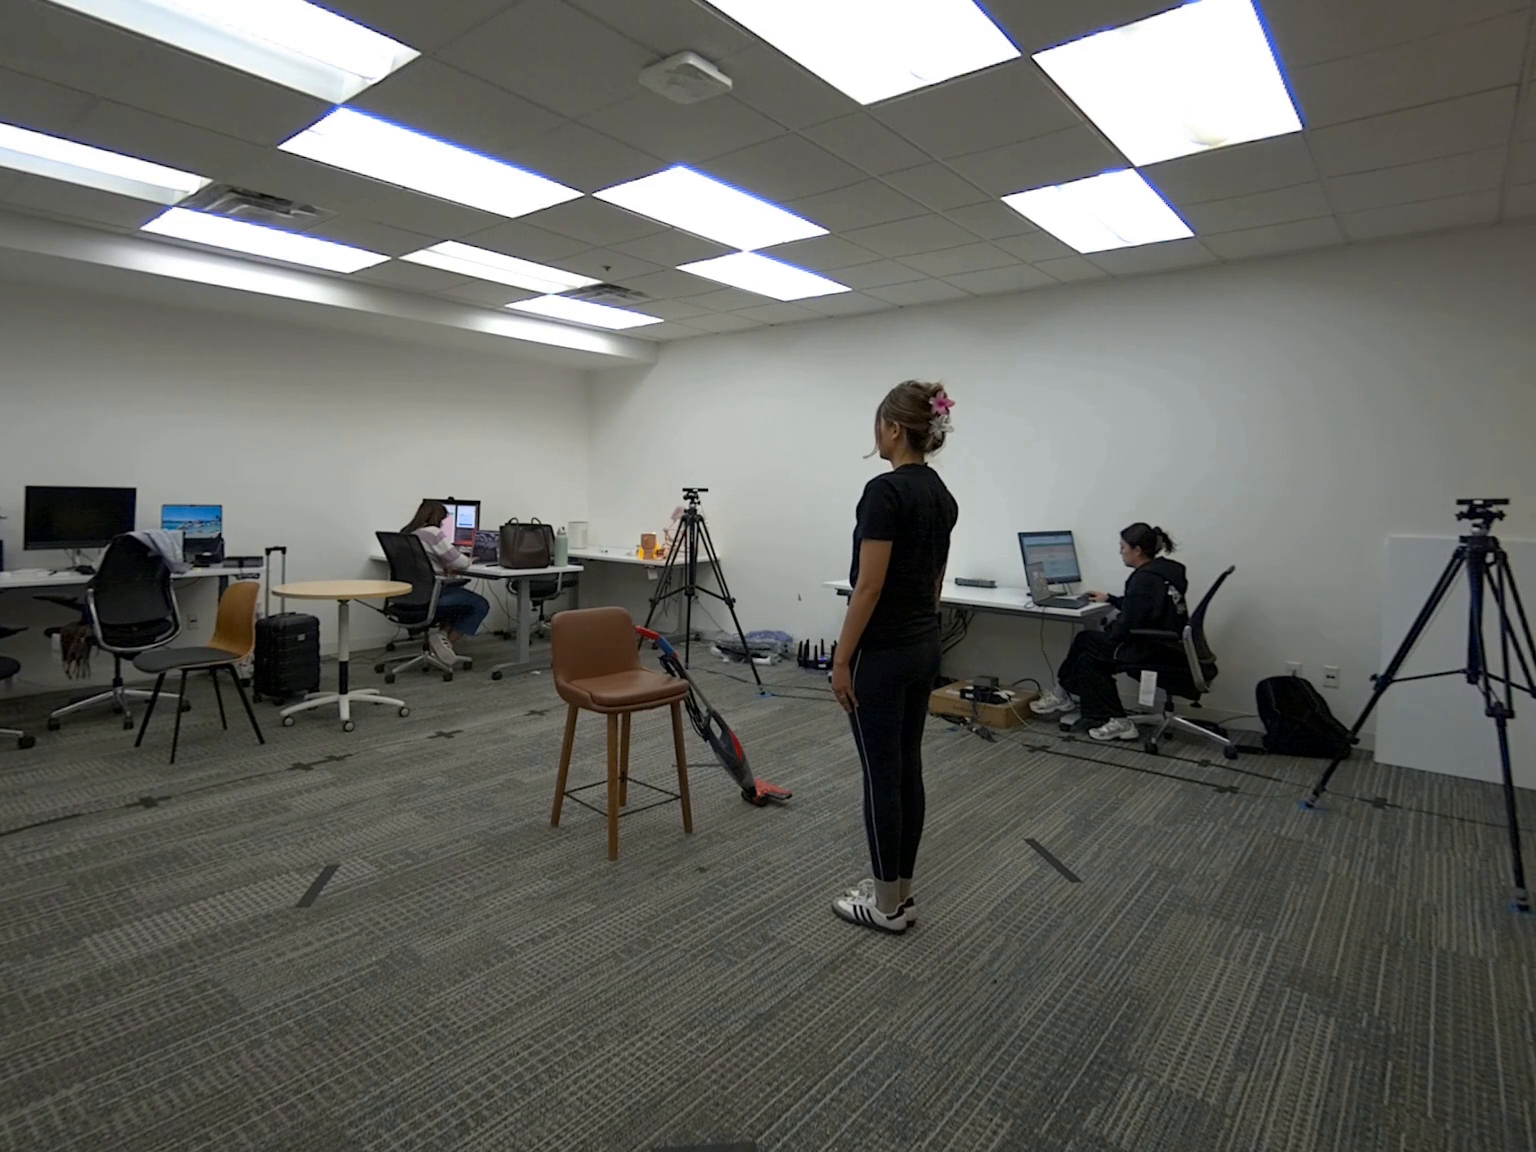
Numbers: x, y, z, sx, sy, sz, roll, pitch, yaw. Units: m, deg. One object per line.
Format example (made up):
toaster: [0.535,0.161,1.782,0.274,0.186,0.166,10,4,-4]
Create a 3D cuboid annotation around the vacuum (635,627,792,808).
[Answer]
vacuum: [-0.271,0.601,3.617,0.260,1.017,0.144,0,40,50]
